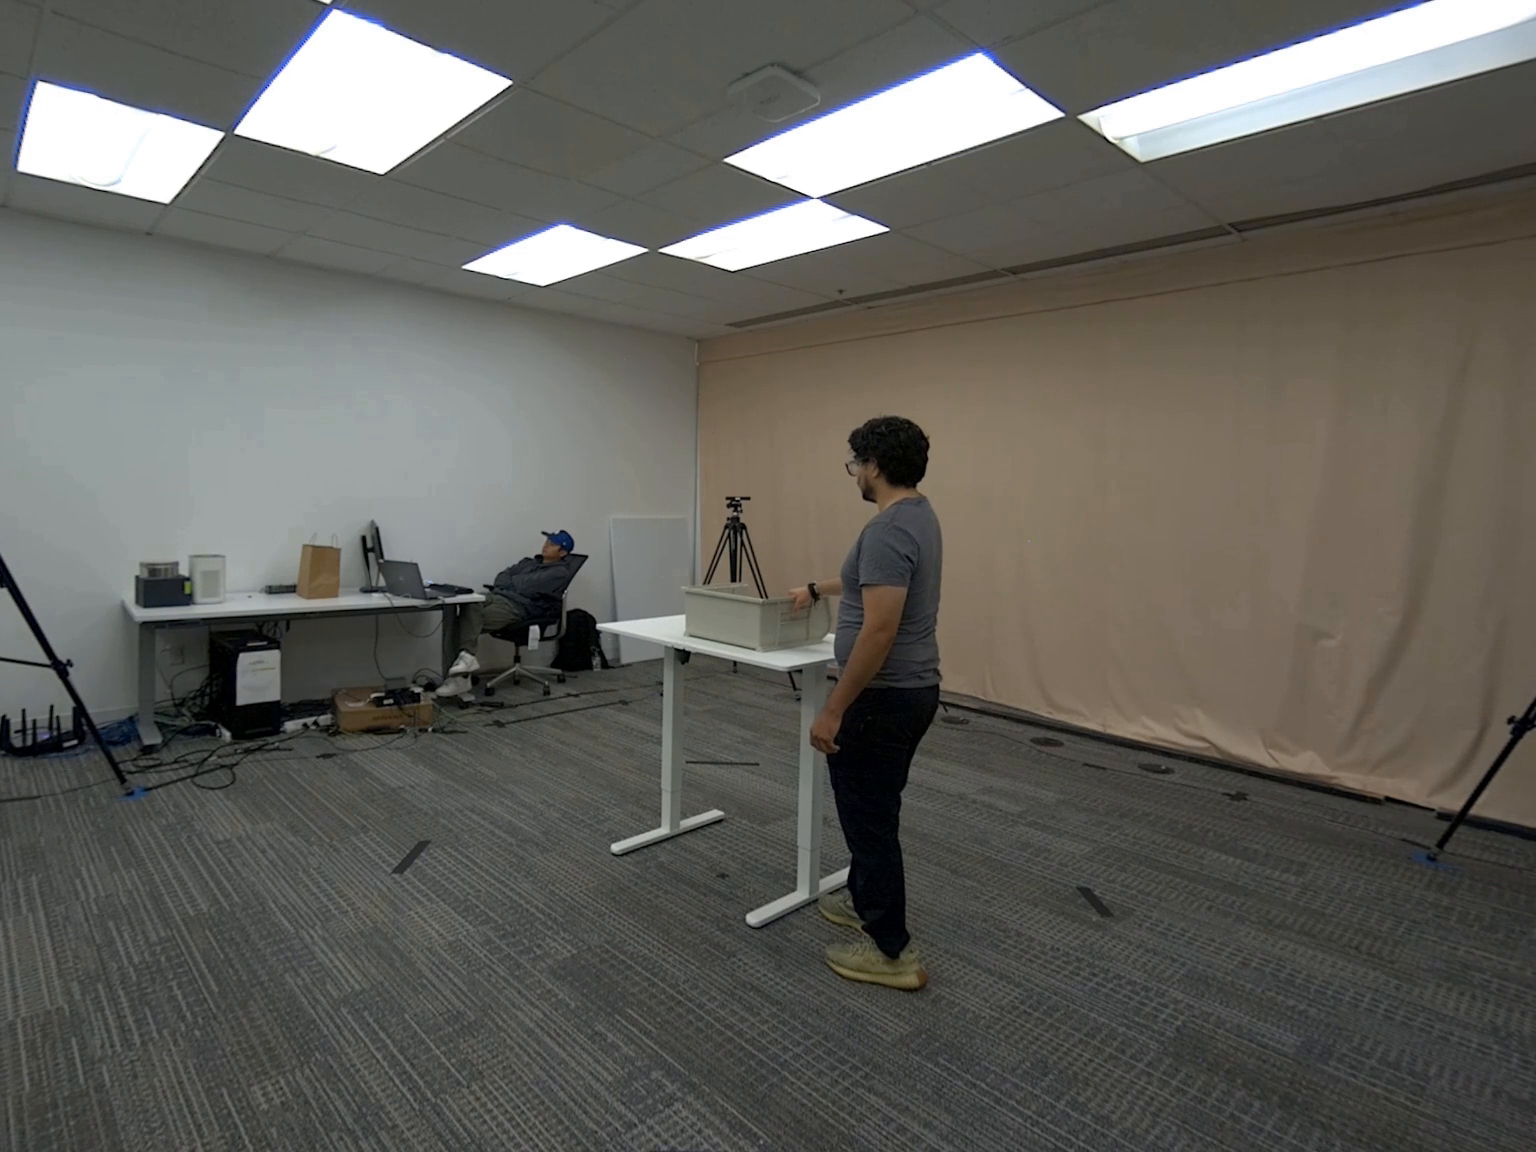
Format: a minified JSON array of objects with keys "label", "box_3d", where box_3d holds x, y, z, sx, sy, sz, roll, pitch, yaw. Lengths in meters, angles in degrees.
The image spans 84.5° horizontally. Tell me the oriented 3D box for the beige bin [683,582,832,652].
[{"label":"beige bin","box_3d":[-0.047,0.141,3.066,0.369,0.188,0.433,-6,9,-44]}]
